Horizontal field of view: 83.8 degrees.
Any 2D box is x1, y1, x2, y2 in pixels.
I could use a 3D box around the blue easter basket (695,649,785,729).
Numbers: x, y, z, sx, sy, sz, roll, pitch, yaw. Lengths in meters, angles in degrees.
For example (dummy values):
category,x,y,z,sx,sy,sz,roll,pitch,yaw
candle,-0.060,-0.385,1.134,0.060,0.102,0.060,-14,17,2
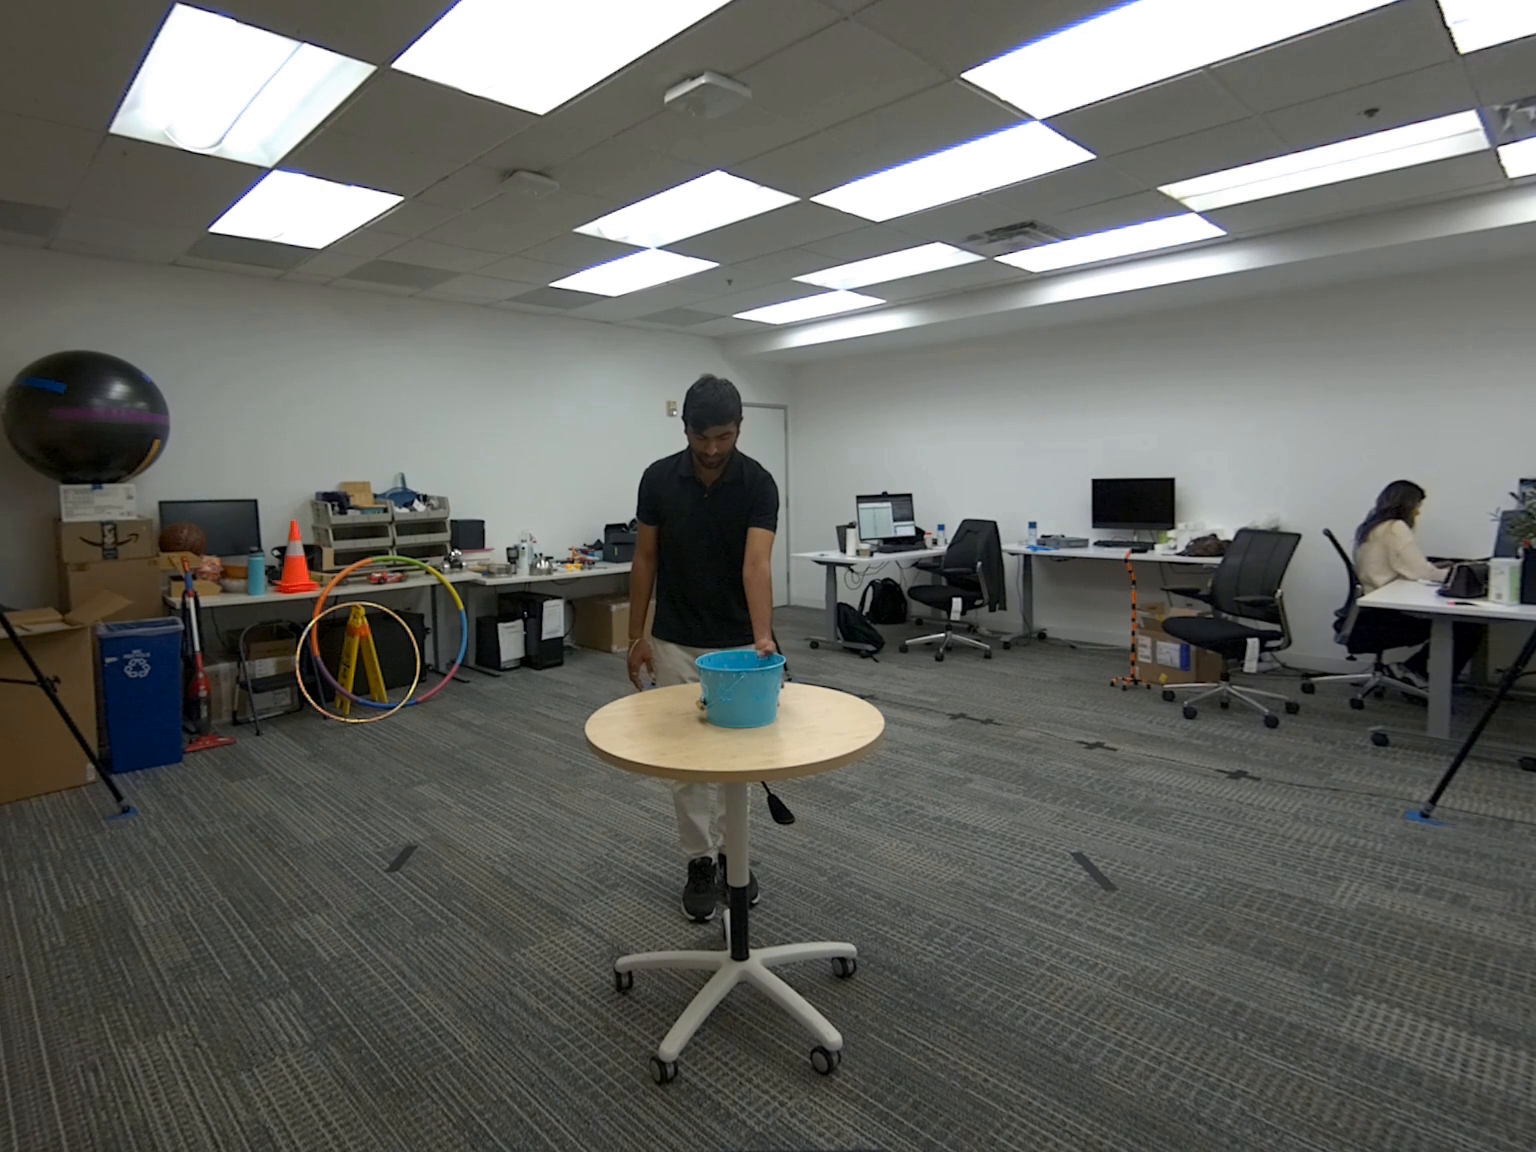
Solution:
category,x,y,z,sx,sy,sz,roll,pitch,yaw
blue easter basket,-0.064,0.294,2.198,0.243,0.155,0.245,-1,7,-2
